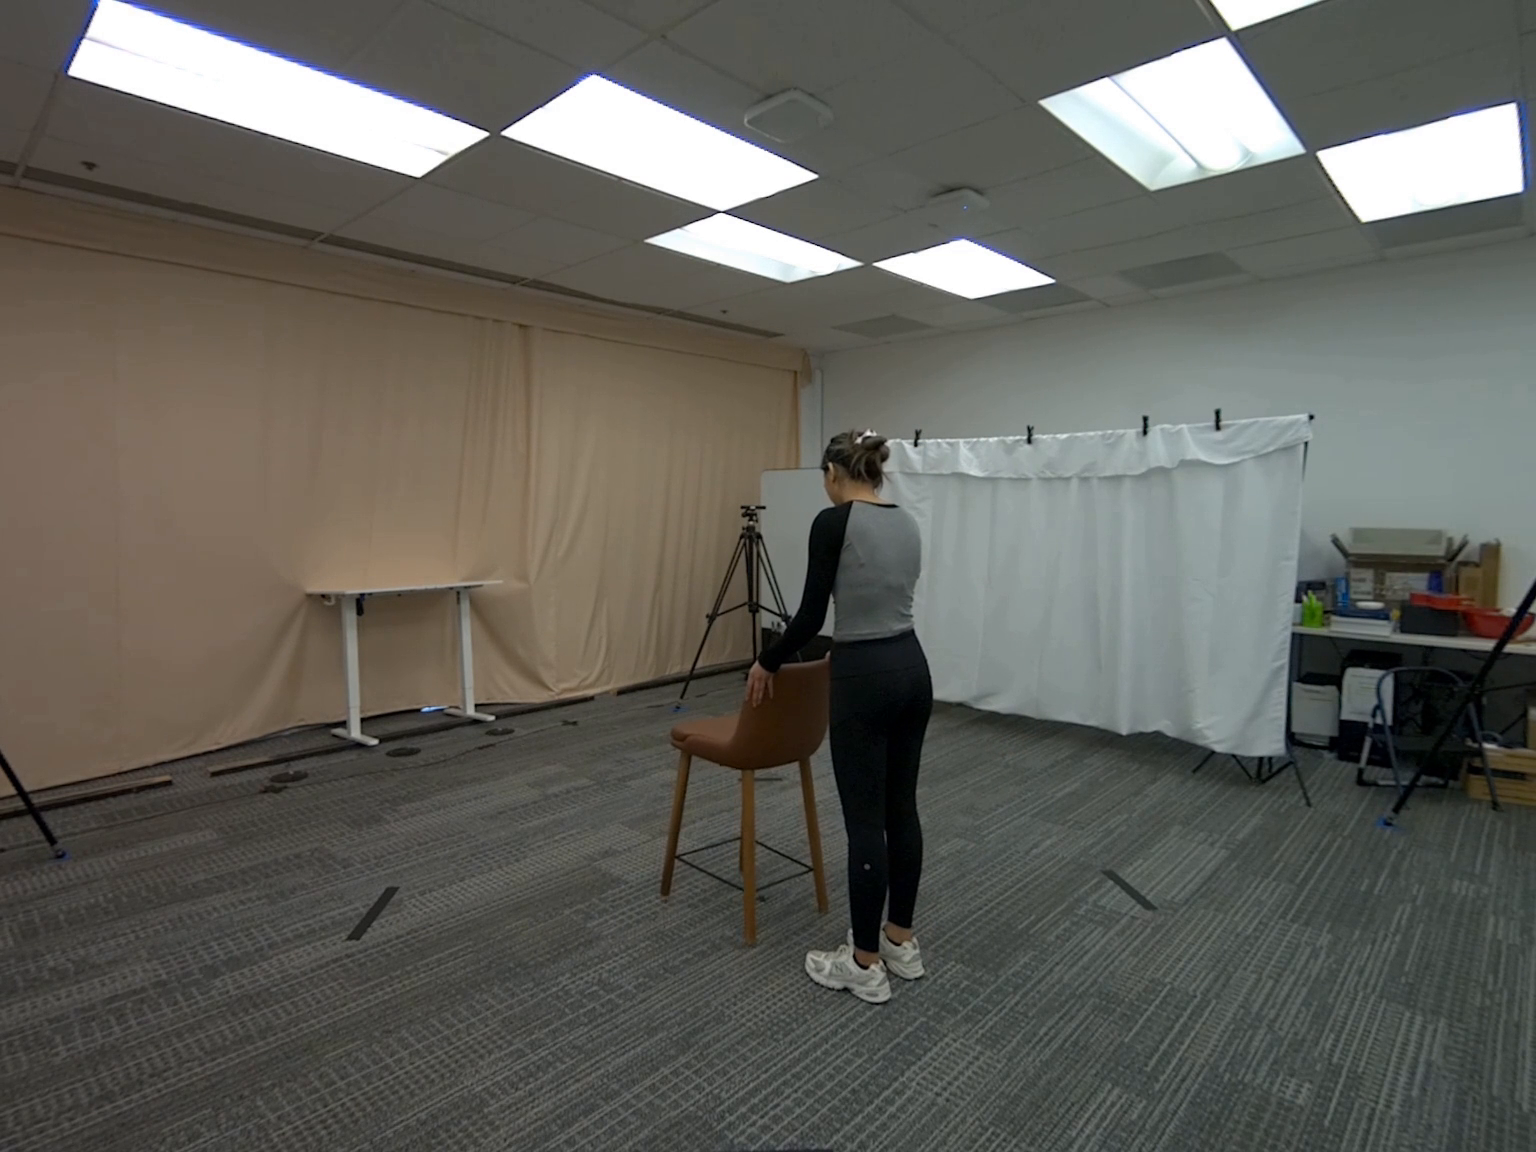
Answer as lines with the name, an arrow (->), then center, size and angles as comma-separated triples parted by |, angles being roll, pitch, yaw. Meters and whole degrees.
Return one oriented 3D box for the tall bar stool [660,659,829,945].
tall bar stool -> -0.056, 0.702, 2.919 | 0.442, 0.888, 0.484 | 1, 5, -43
